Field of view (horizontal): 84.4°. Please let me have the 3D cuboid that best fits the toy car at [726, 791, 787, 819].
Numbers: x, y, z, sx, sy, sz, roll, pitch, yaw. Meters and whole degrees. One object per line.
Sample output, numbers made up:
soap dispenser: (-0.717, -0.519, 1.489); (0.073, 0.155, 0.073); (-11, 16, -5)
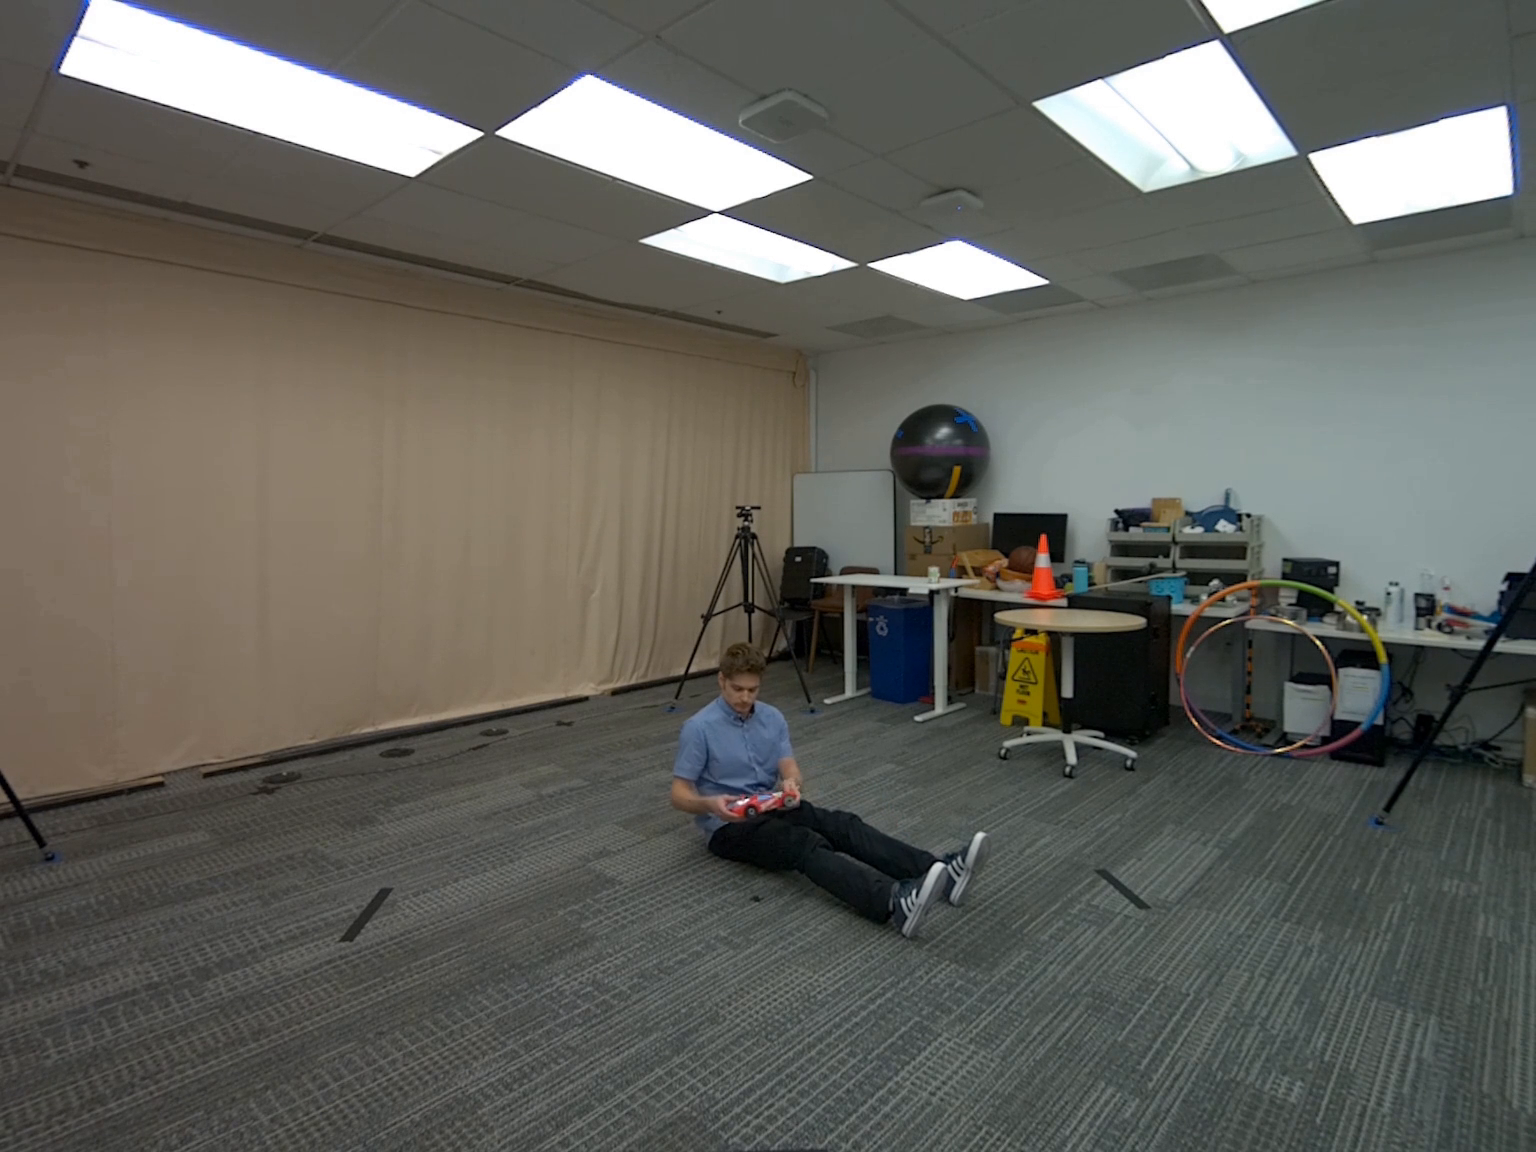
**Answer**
toy car: (-0.028, 0.840, 3.072); (0.250, 0.084, 0.131); (1, -14, -15)
